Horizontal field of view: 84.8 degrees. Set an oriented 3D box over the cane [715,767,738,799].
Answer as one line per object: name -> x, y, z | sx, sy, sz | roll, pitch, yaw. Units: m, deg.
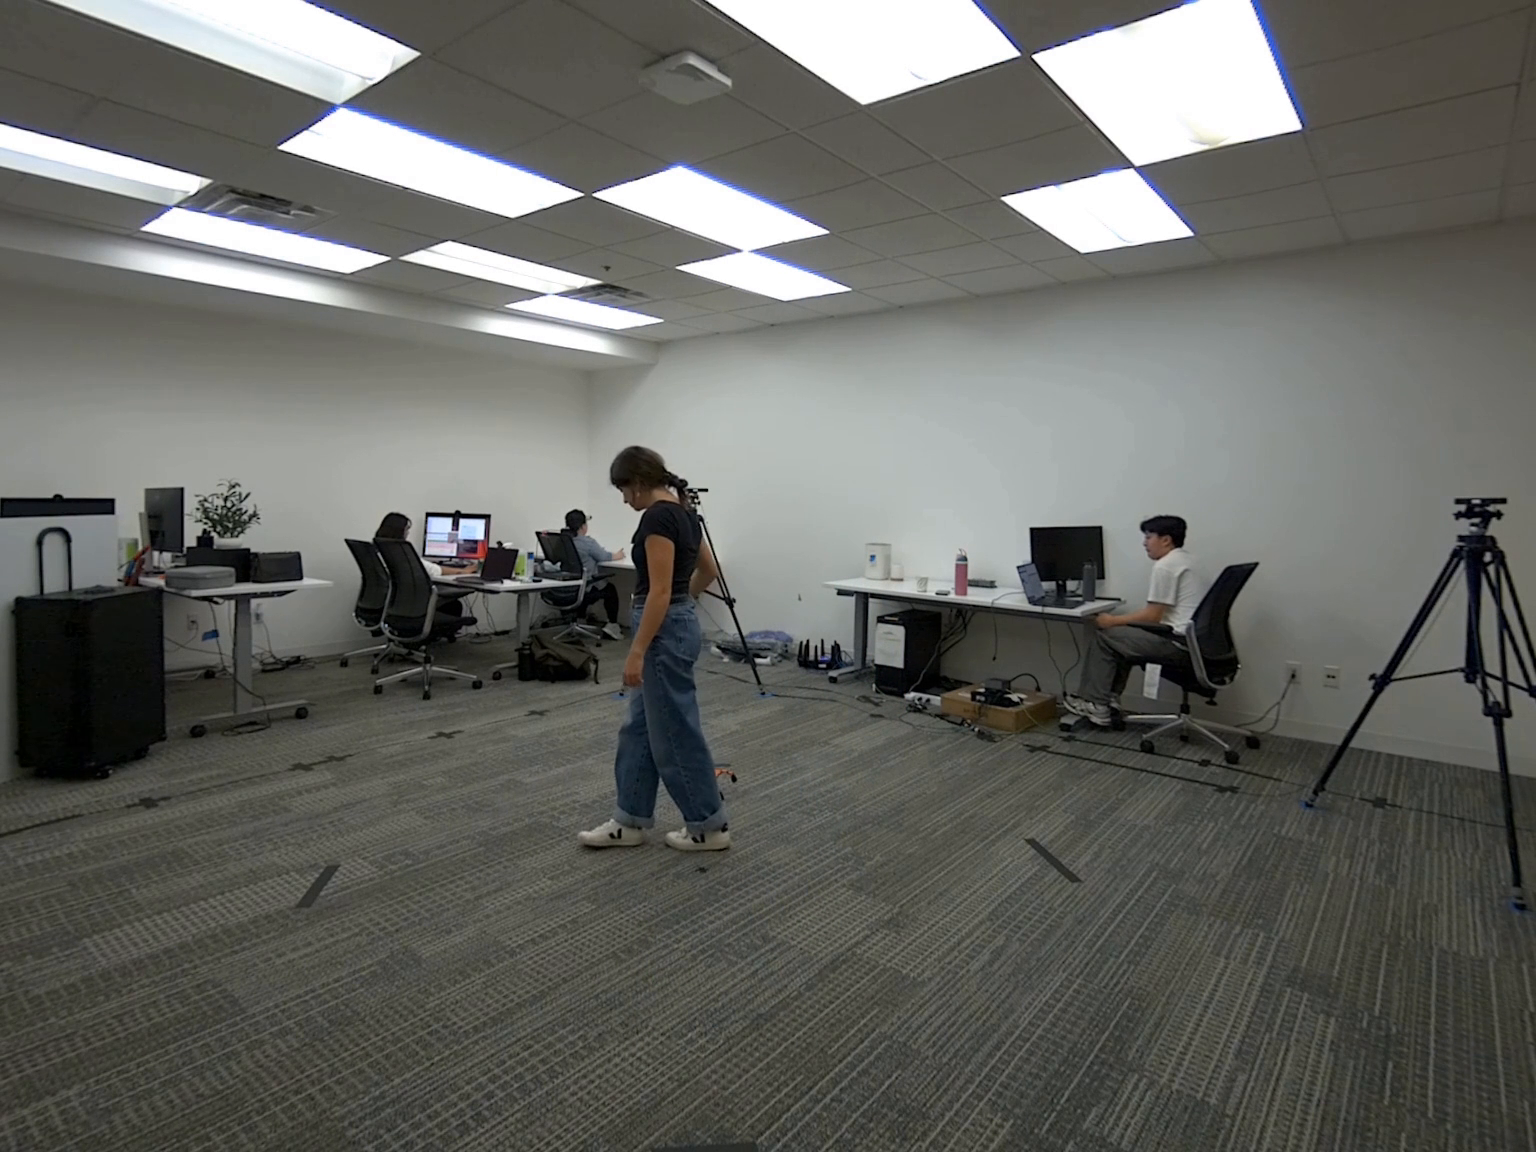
cane -> -0.340, 0.556, 3.746 | 0.212, 0.886, 0.151 | 1, 25, 31
